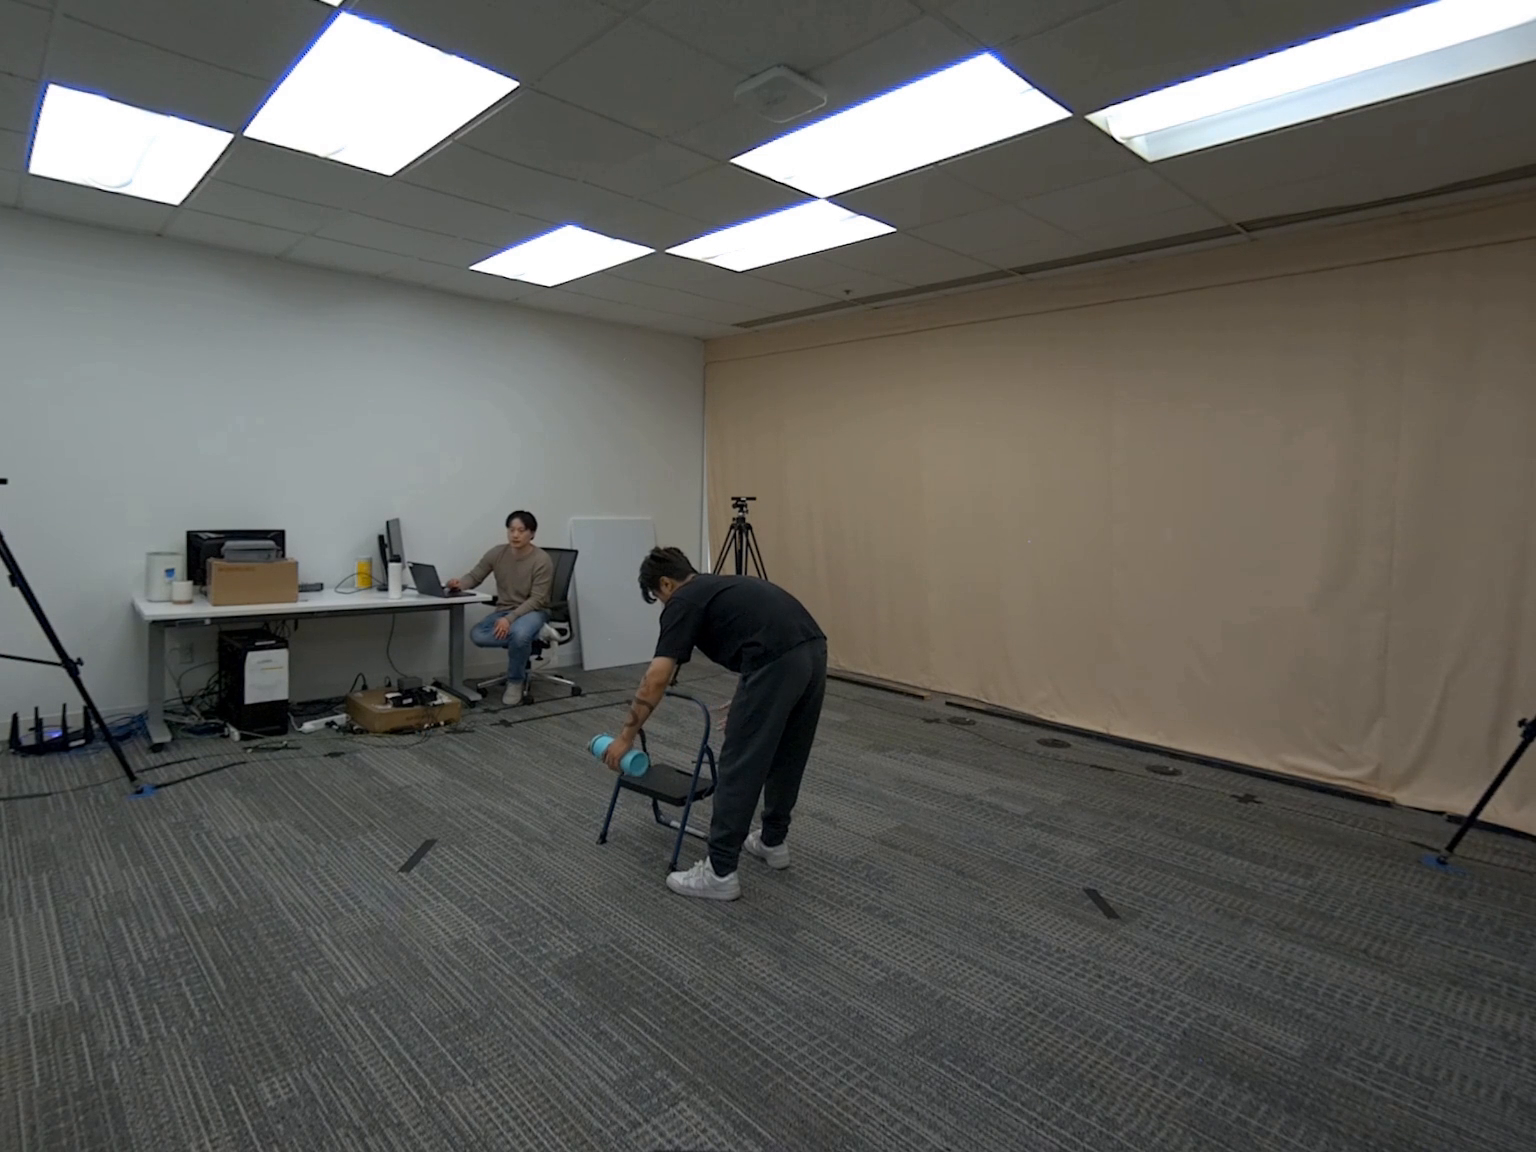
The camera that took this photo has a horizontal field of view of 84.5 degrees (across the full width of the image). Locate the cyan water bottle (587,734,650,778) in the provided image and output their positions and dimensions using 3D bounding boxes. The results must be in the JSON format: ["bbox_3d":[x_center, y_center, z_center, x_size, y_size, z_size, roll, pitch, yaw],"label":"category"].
[{"bbox_3d":[-0.542,0.632,3.039,0.090,0.092,0.291,-3,9,-44],"label":"cyan water bottle"}]
